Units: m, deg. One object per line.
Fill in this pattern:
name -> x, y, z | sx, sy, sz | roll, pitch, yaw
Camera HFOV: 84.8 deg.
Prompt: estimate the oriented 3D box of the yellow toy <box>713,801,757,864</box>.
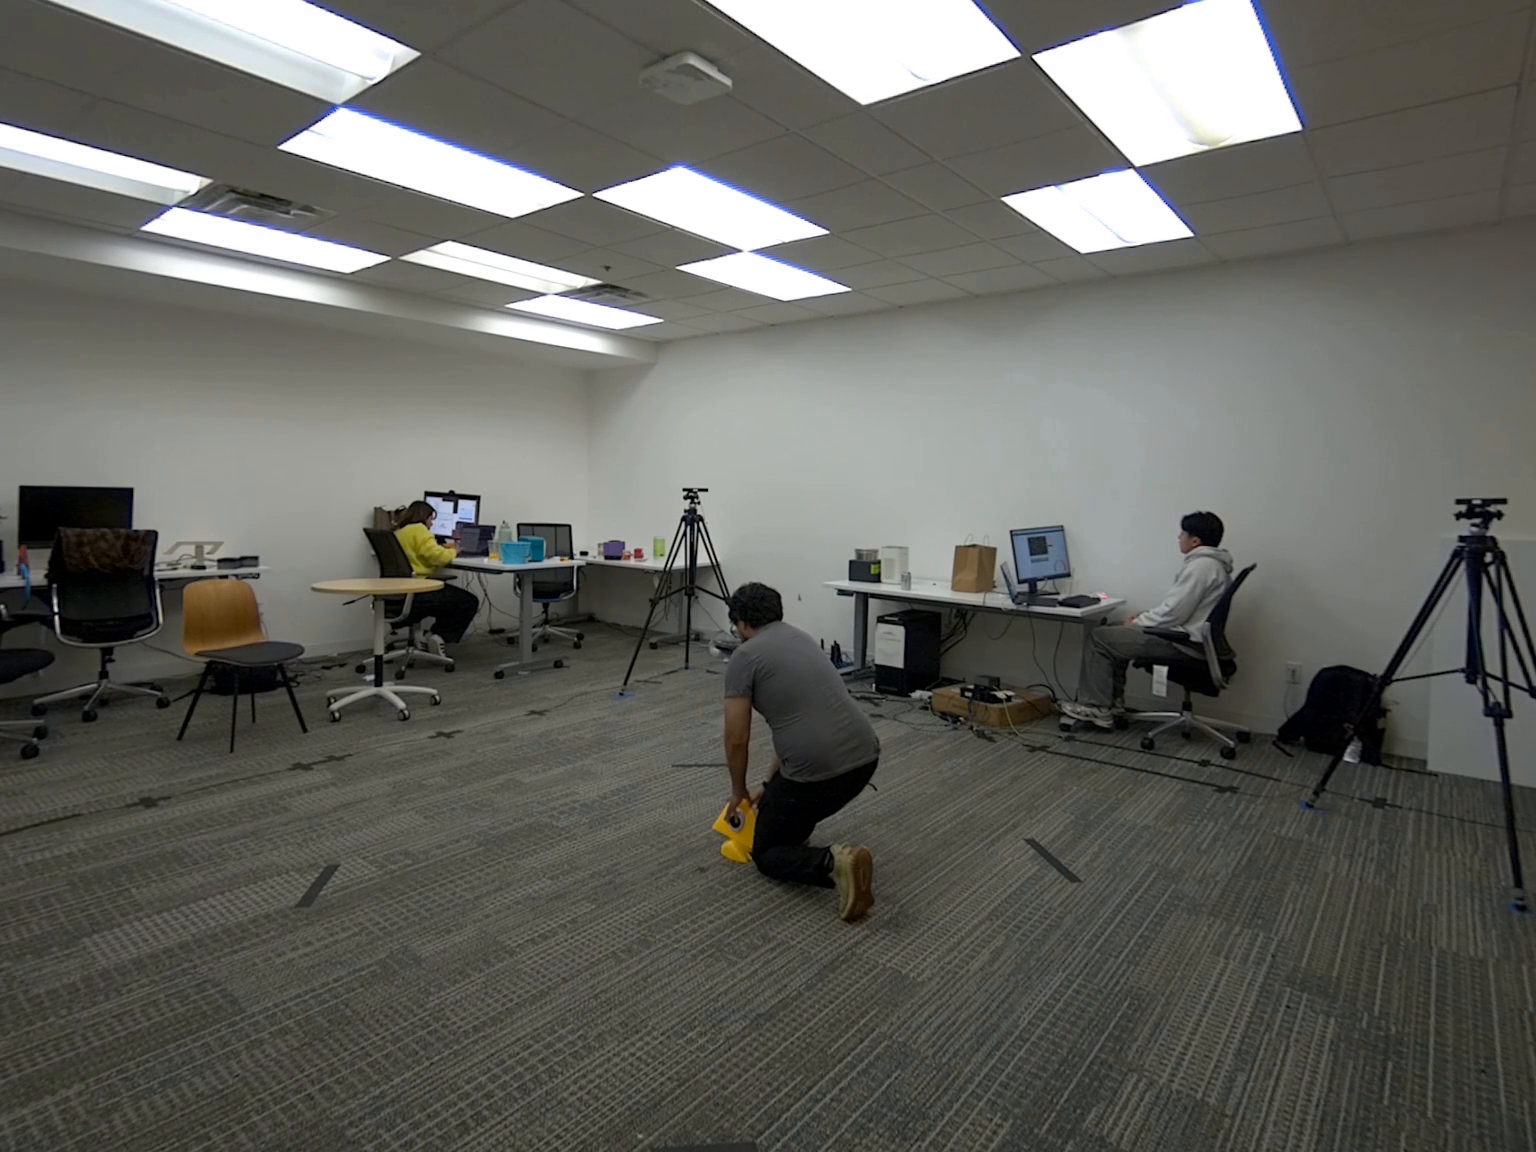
yellow toy -> -0.087, 0.944, 3.277 | 0.199, 0.230, 0.199 | -1, 4, -35
